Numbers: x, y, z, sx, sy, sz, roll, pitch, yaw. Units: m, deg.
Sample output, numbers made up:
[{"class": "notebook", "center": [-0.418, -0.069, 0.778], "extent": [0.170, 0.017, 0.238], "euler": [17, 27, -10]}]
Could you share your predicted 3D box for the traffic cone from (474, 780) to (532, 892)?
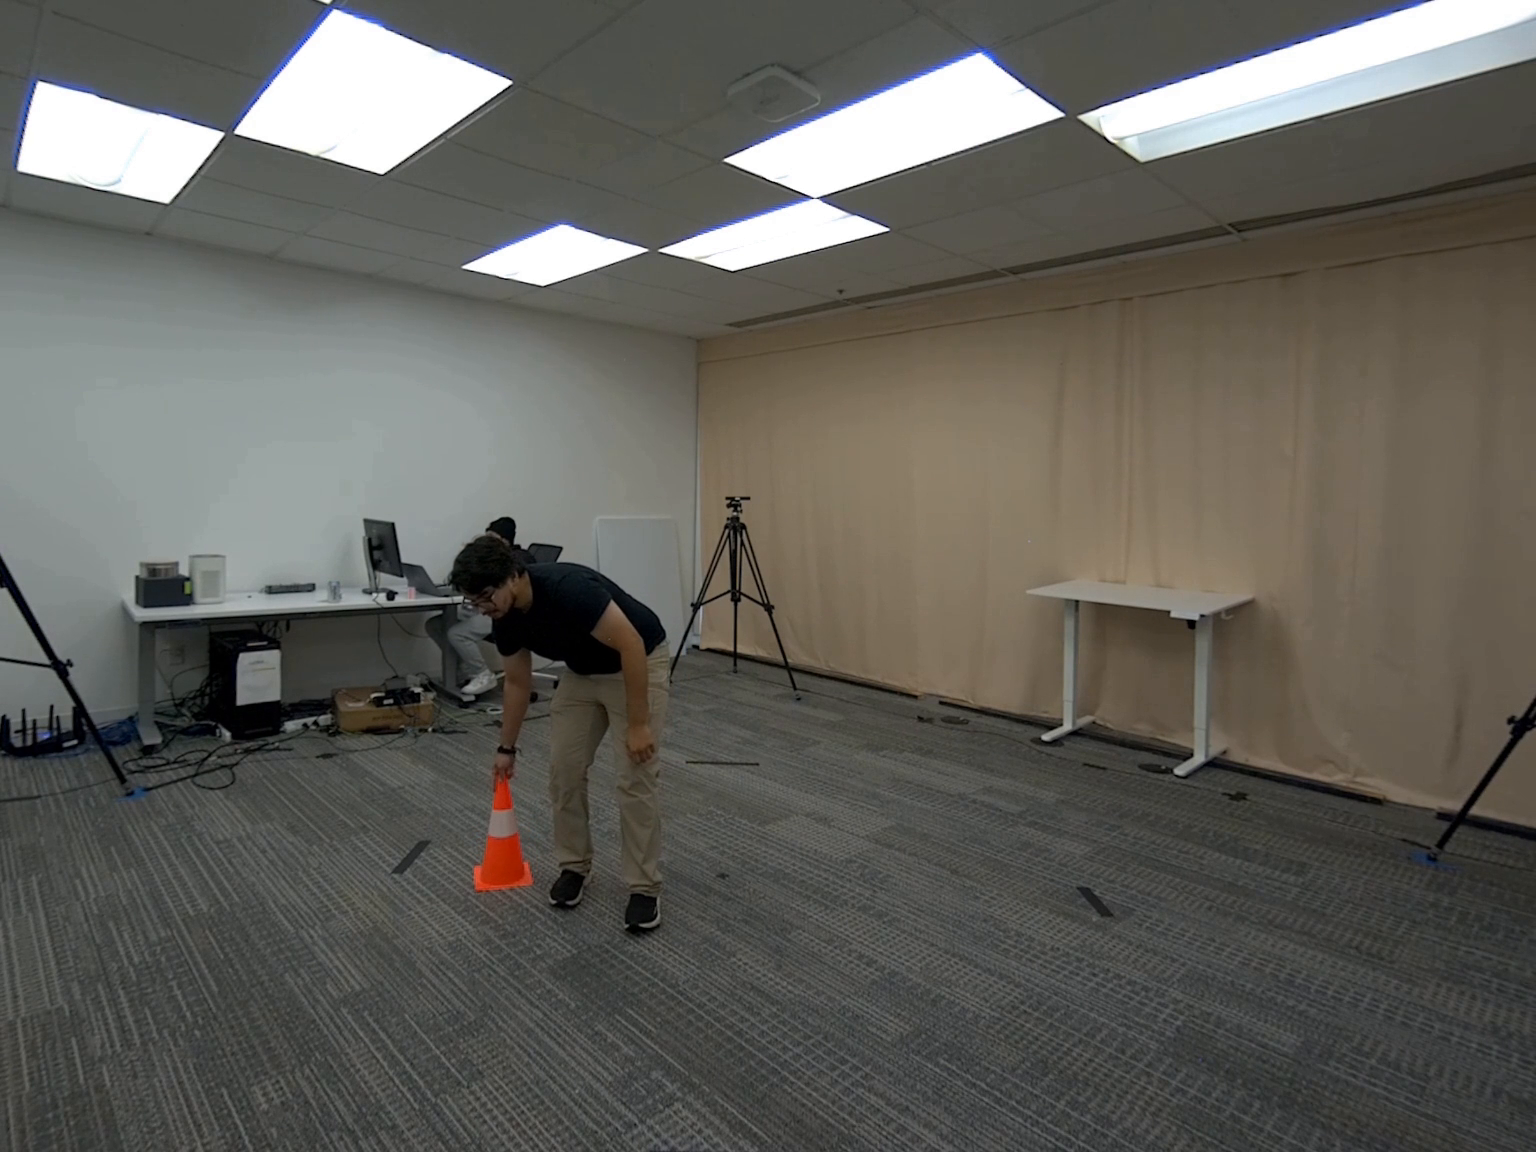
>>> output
[{"class": "traffic cone", "center": [-0.970, 0.913, 3.056], "extent": [0.201, 0.383, 0.208], "euler": [1, 3, -15]}]
